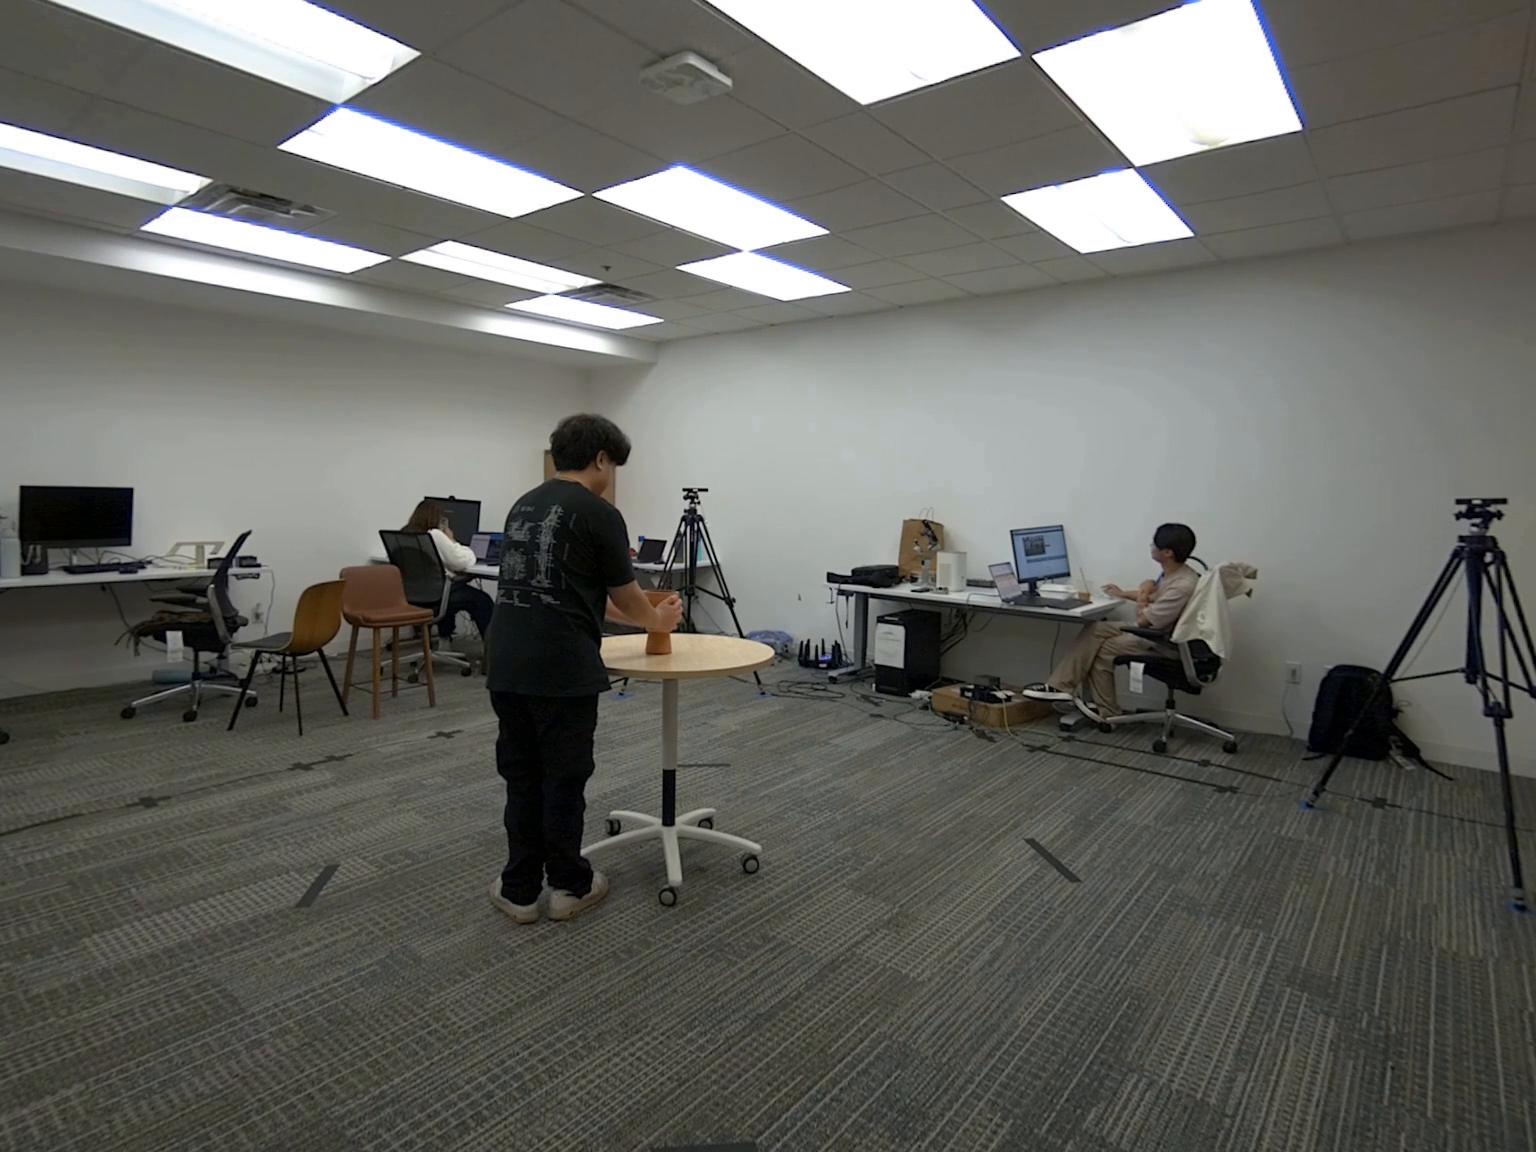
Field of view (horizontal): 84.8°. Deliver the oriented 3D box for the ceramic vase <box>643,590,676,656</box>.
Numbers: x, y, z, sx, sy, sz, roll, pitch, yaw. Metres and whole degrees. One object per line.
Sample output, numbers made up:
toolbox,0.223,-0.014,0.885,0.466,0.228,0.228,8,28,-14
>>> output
ceramic vase,-0.405,0.167,3.080,0.158,0.219,0.136,1,1,-7
